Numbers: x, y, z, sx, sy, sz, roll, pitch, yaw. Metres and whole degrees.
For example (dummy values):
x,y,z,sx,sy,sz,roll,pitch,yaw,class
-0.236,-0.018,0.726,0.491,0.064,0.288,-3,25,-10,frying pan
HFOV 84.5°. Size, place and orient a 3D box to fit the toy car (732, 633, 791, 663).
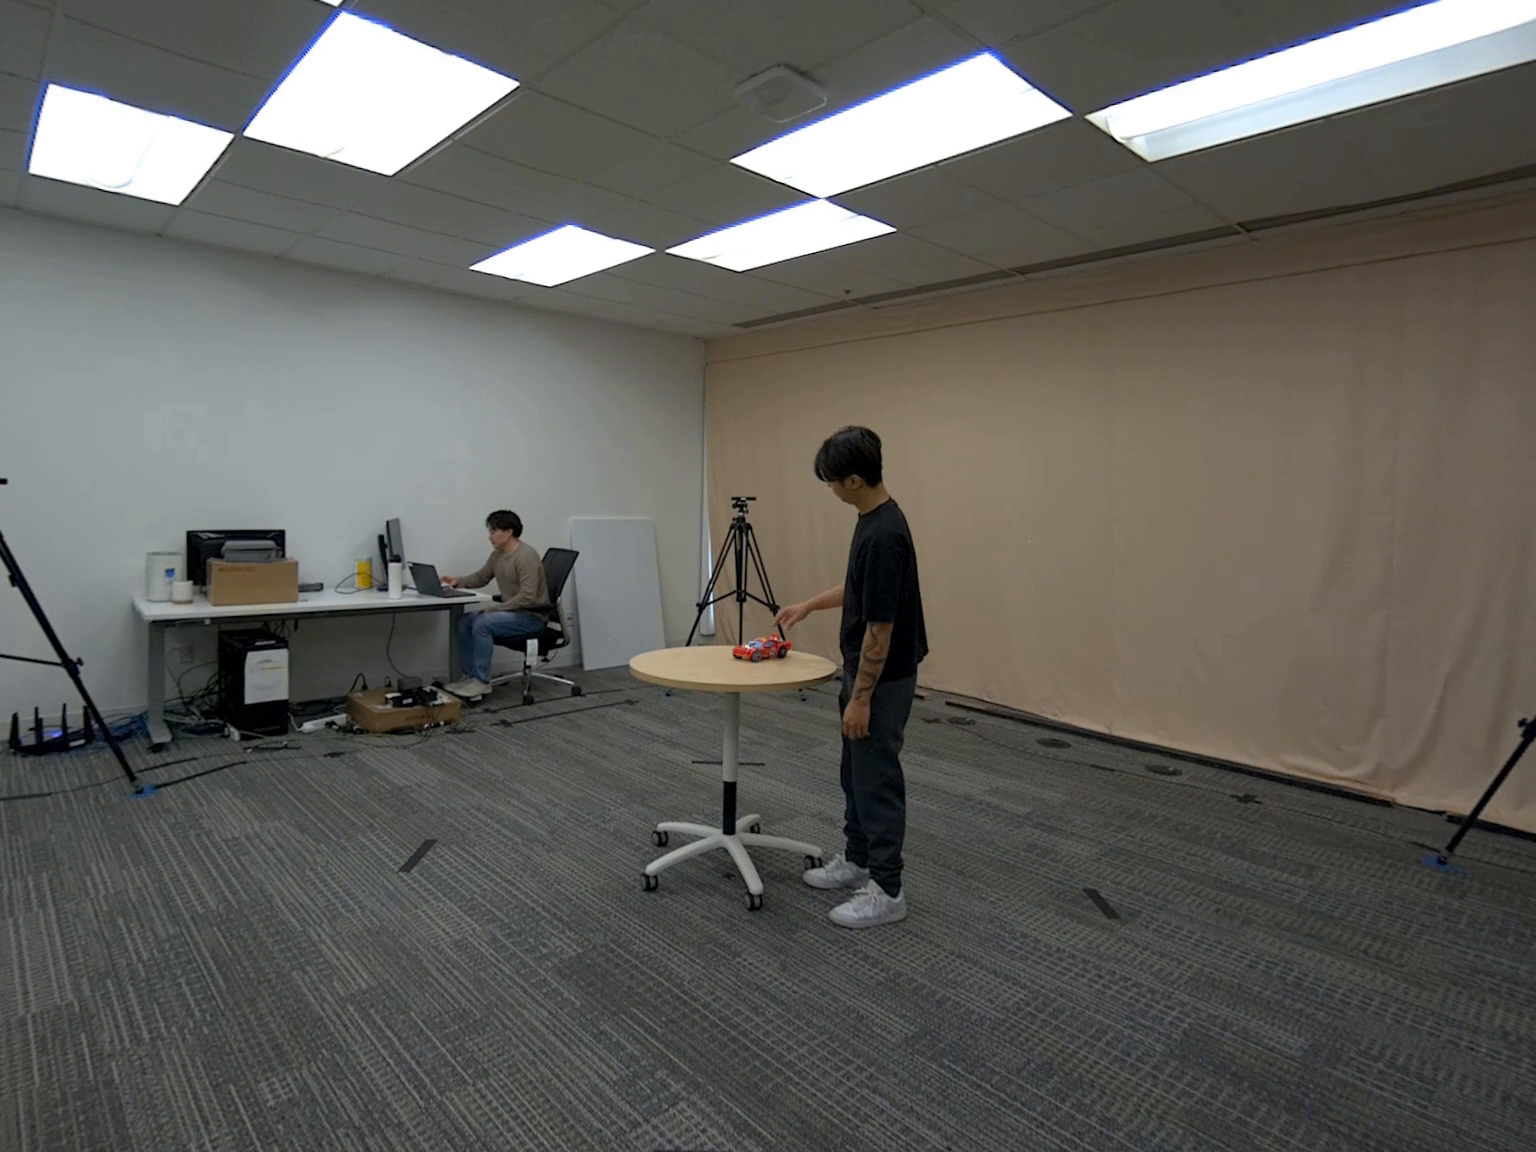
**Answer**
x,y,z,sx,sy,sz,roll,pitch,yaw,class
-0.023,0.284,3.244,0.133,0.082,0.250,4,16,45,toy car
